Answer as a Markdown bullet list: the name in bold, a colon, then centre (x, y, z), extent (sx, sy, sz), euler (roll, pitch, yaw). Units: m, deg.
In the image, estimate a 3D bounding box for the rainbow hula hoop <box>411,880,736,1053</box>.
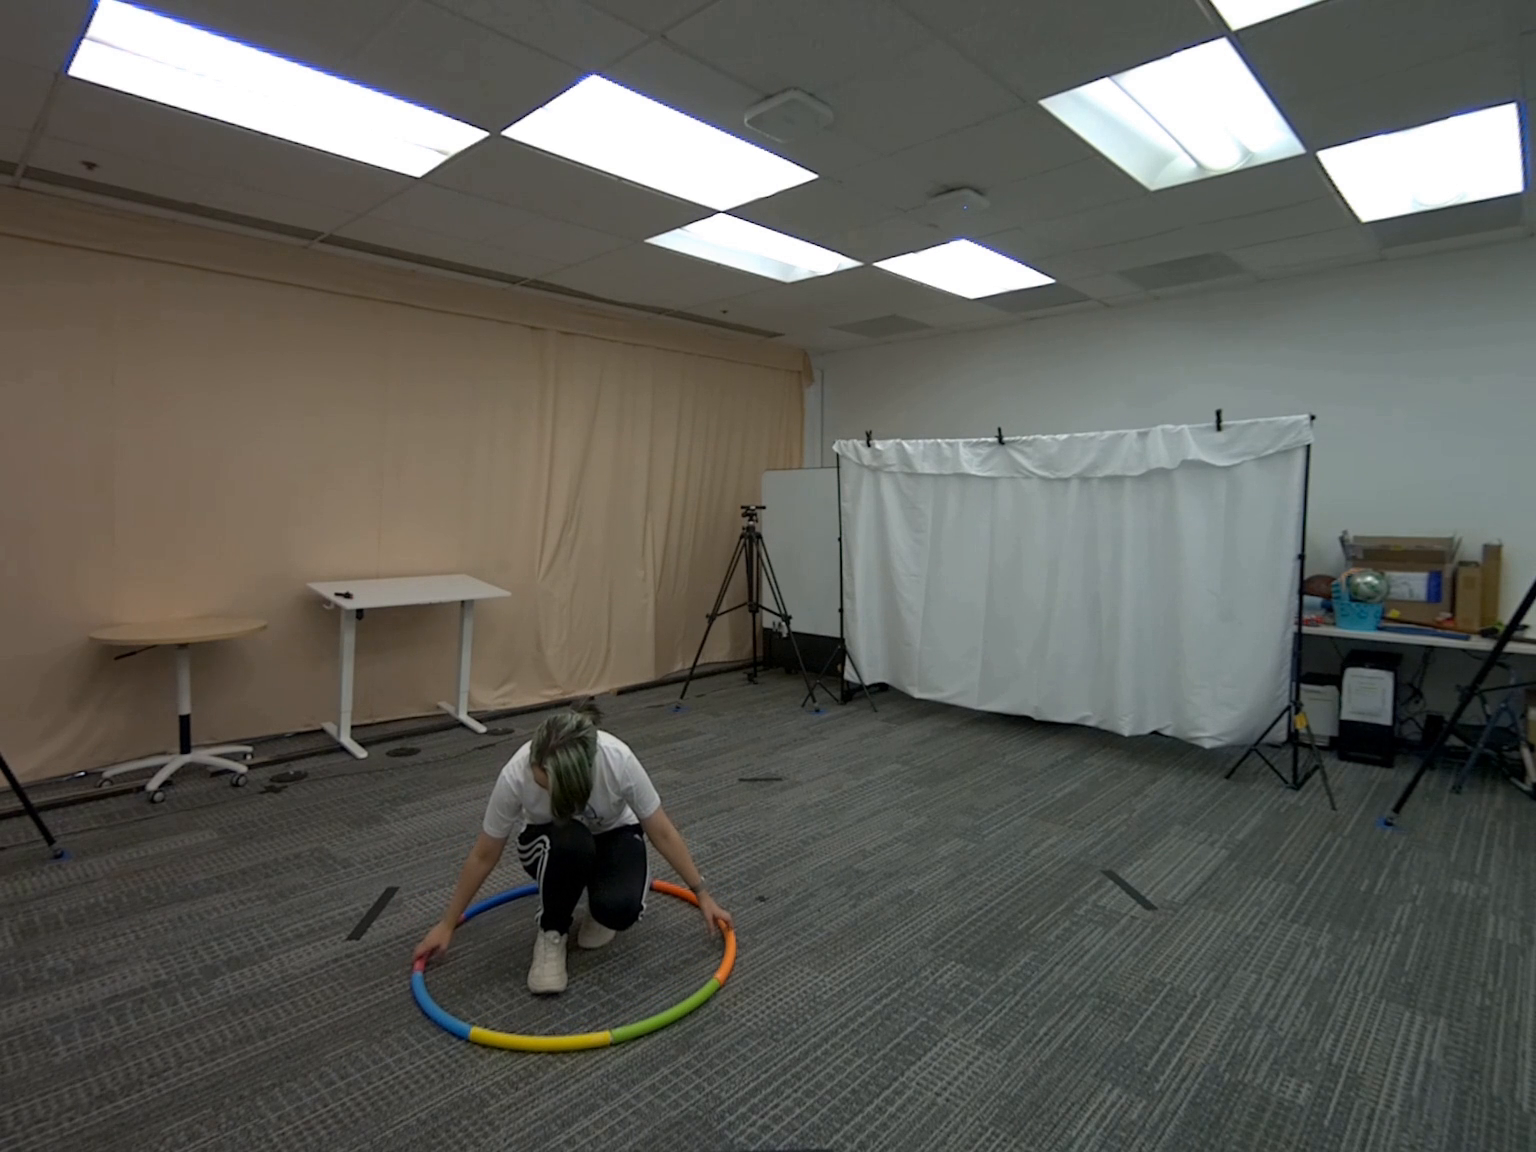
- **rainbow hula hoop**: centre (-0.590, 1.150, 2.631), extent (0.984, 0.051, 0.989), euler (0, 4, -2)
